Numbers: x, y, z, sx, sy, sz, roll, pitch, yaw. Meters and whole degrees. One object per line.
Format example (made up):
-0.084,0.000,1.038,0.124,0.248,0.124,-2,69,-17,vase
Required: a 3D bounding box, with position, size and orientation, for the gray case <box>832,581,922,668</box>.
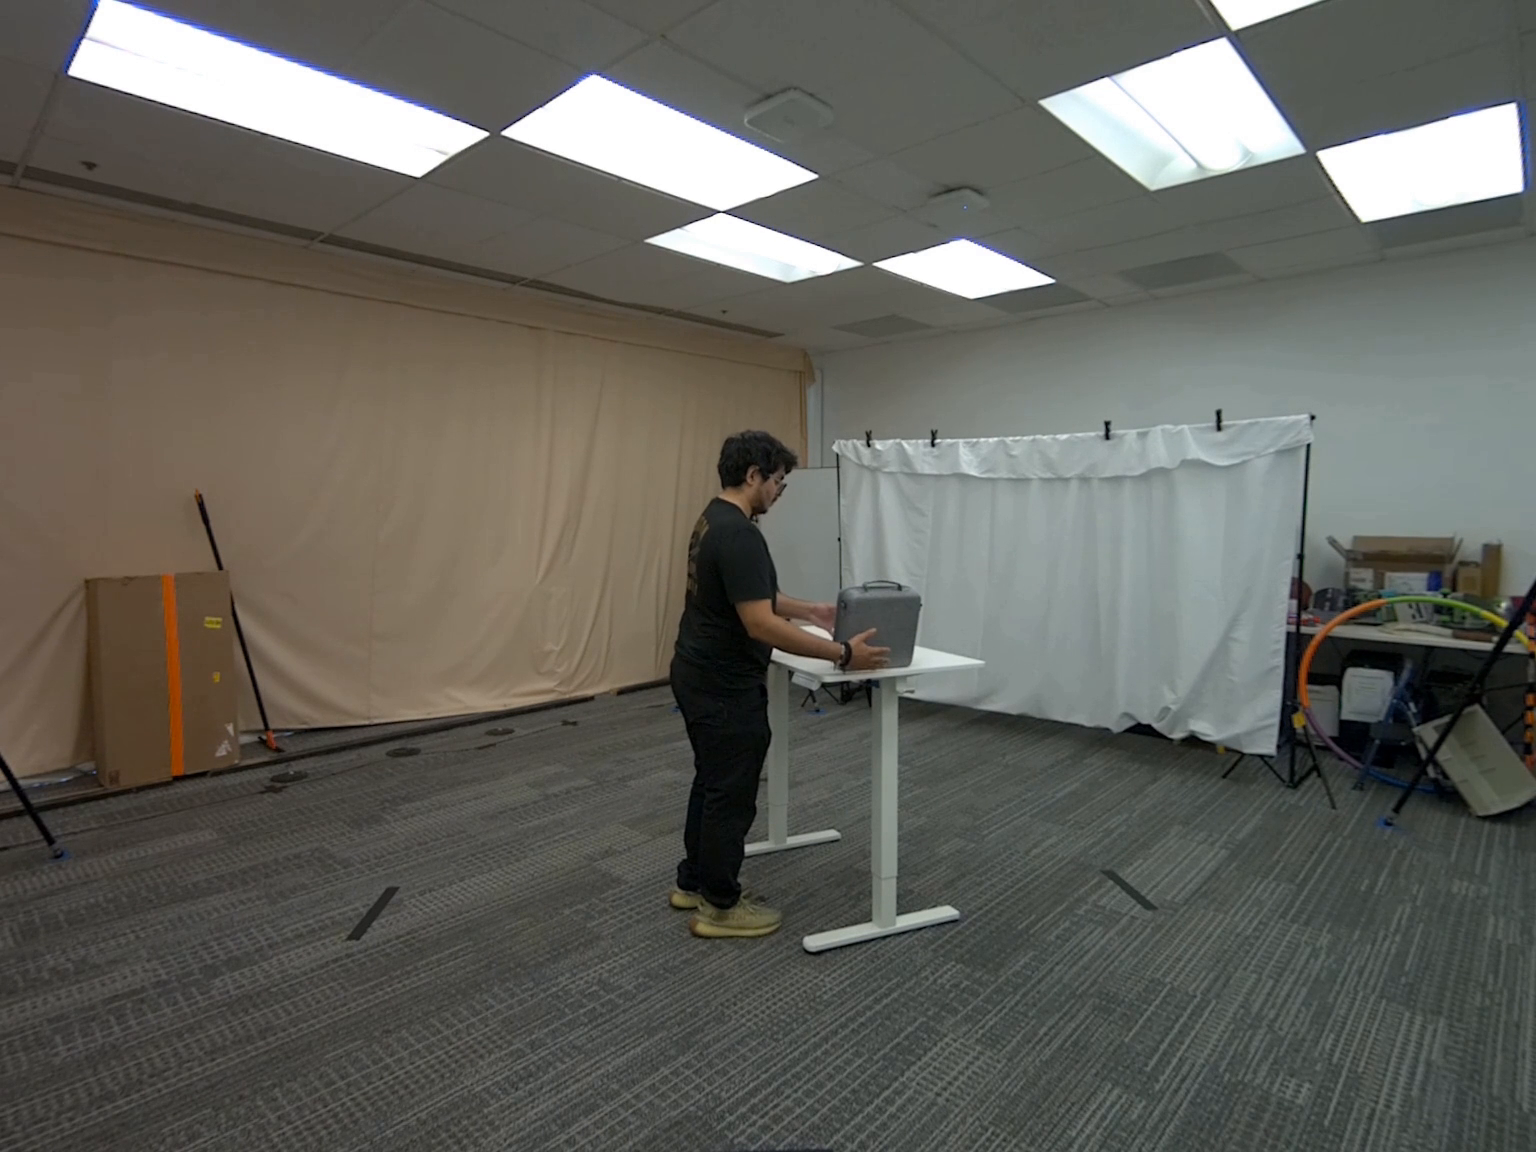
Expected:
0.337,0.164,2.585,0.252,0.259,0.107,-1,12,-19,gray case
